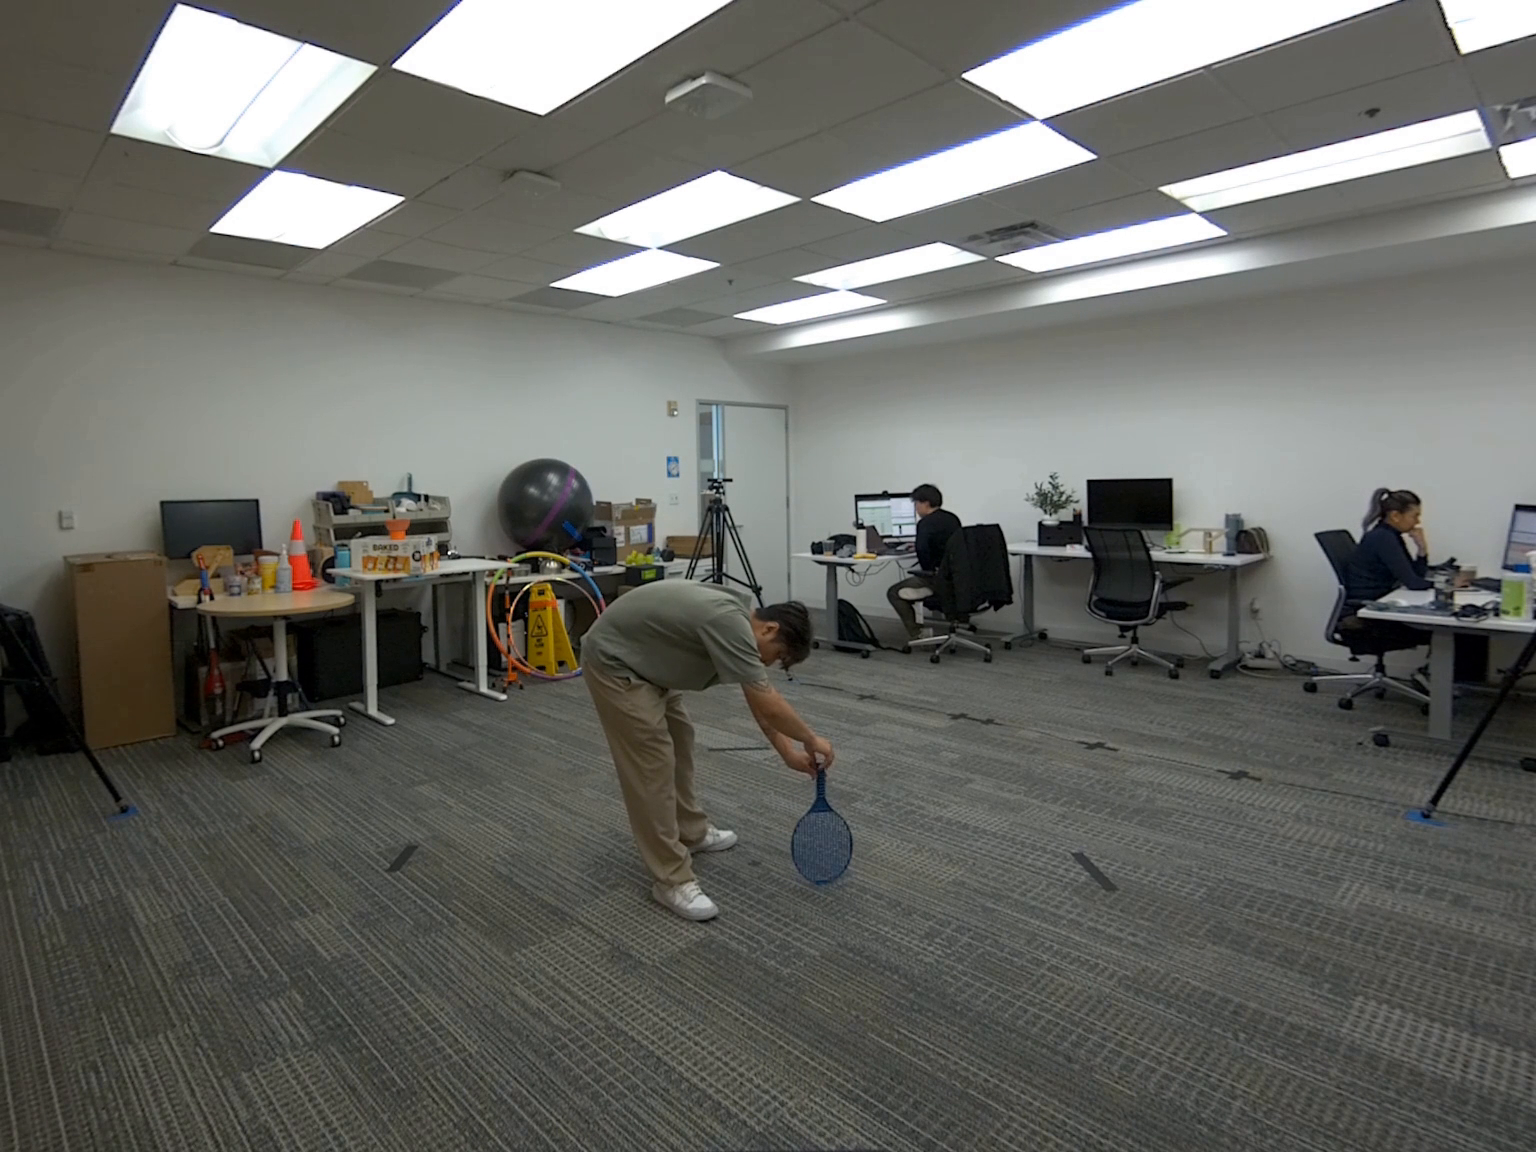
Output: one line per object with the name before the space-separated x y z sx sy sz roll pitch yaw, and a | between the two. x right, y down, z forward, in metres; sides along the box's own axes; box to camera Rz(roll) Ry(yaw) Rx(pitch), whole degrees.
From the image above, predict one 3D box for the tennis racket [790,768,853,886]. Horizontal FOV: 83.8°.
tennis racket | 0.190 0.848 2.920 0.213 0.430 0.032 2 6 -1
